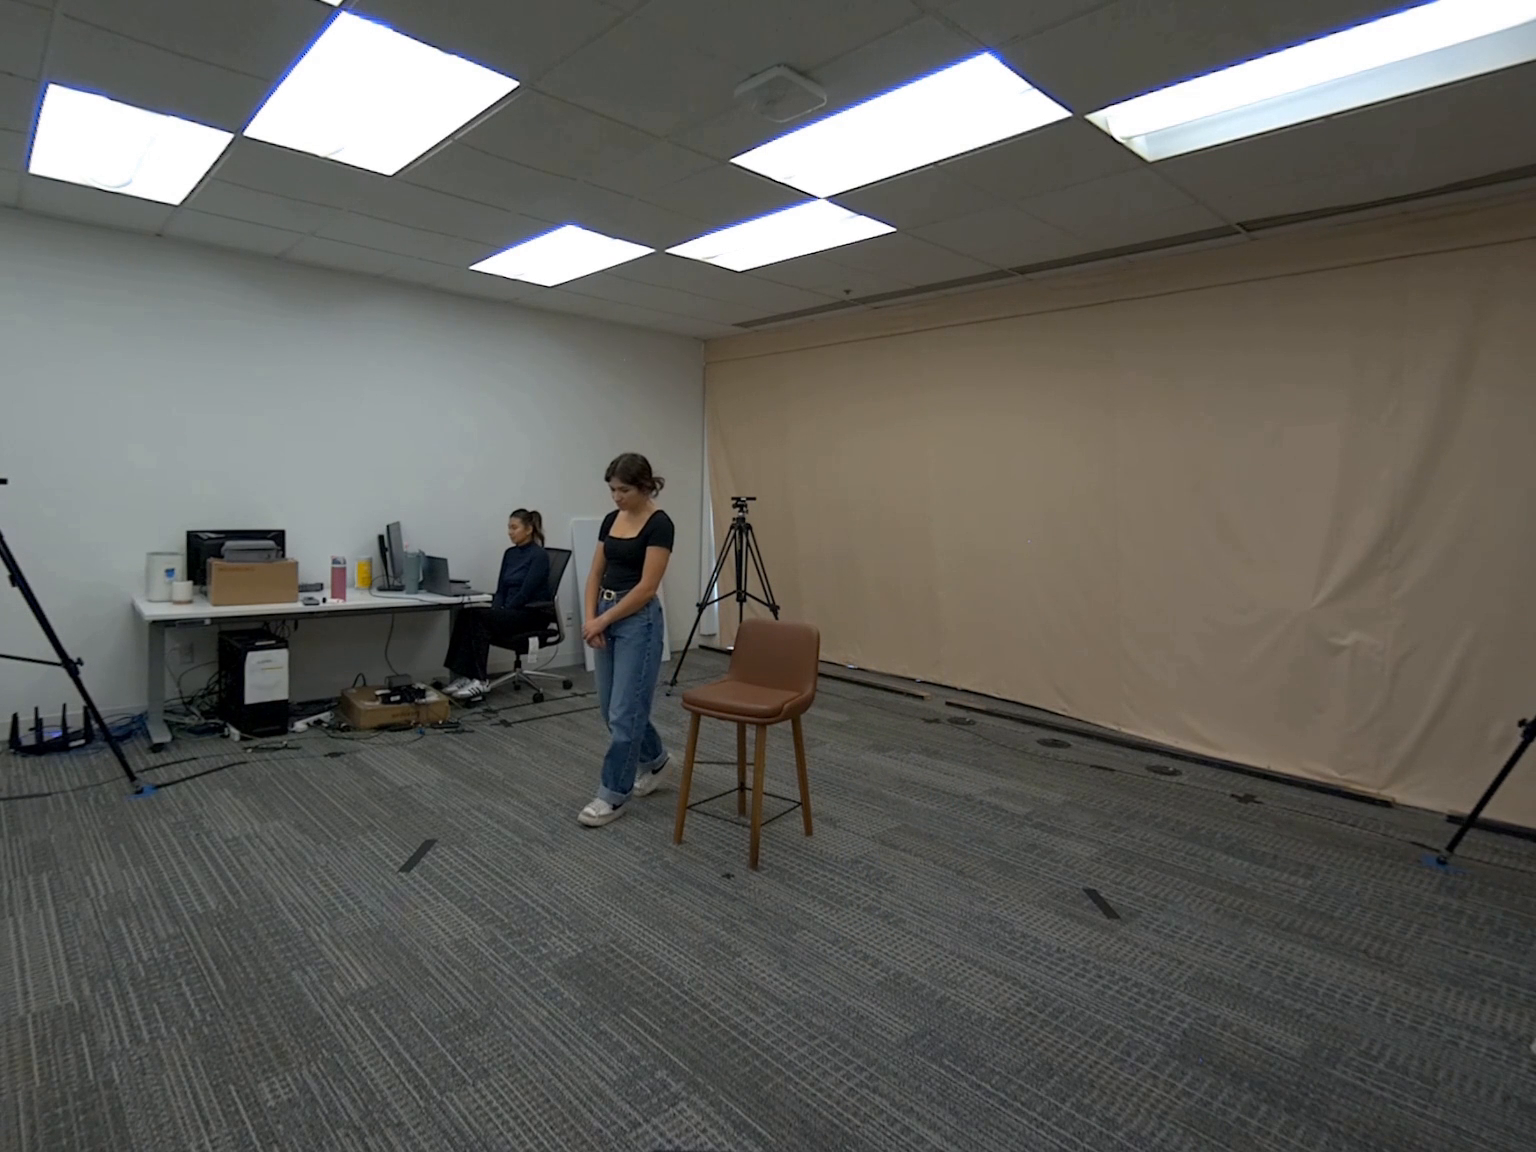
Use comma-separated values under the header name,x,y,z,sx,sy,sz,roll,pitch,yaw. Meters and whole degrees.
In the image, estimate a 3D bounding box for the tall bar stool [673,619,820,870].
name,x,y,z,sx,sy,sz,roll,pitch,yaw
tall bar stool,-0.081,0.646,3.430,0.467,0.889,0.457,4,2,36
